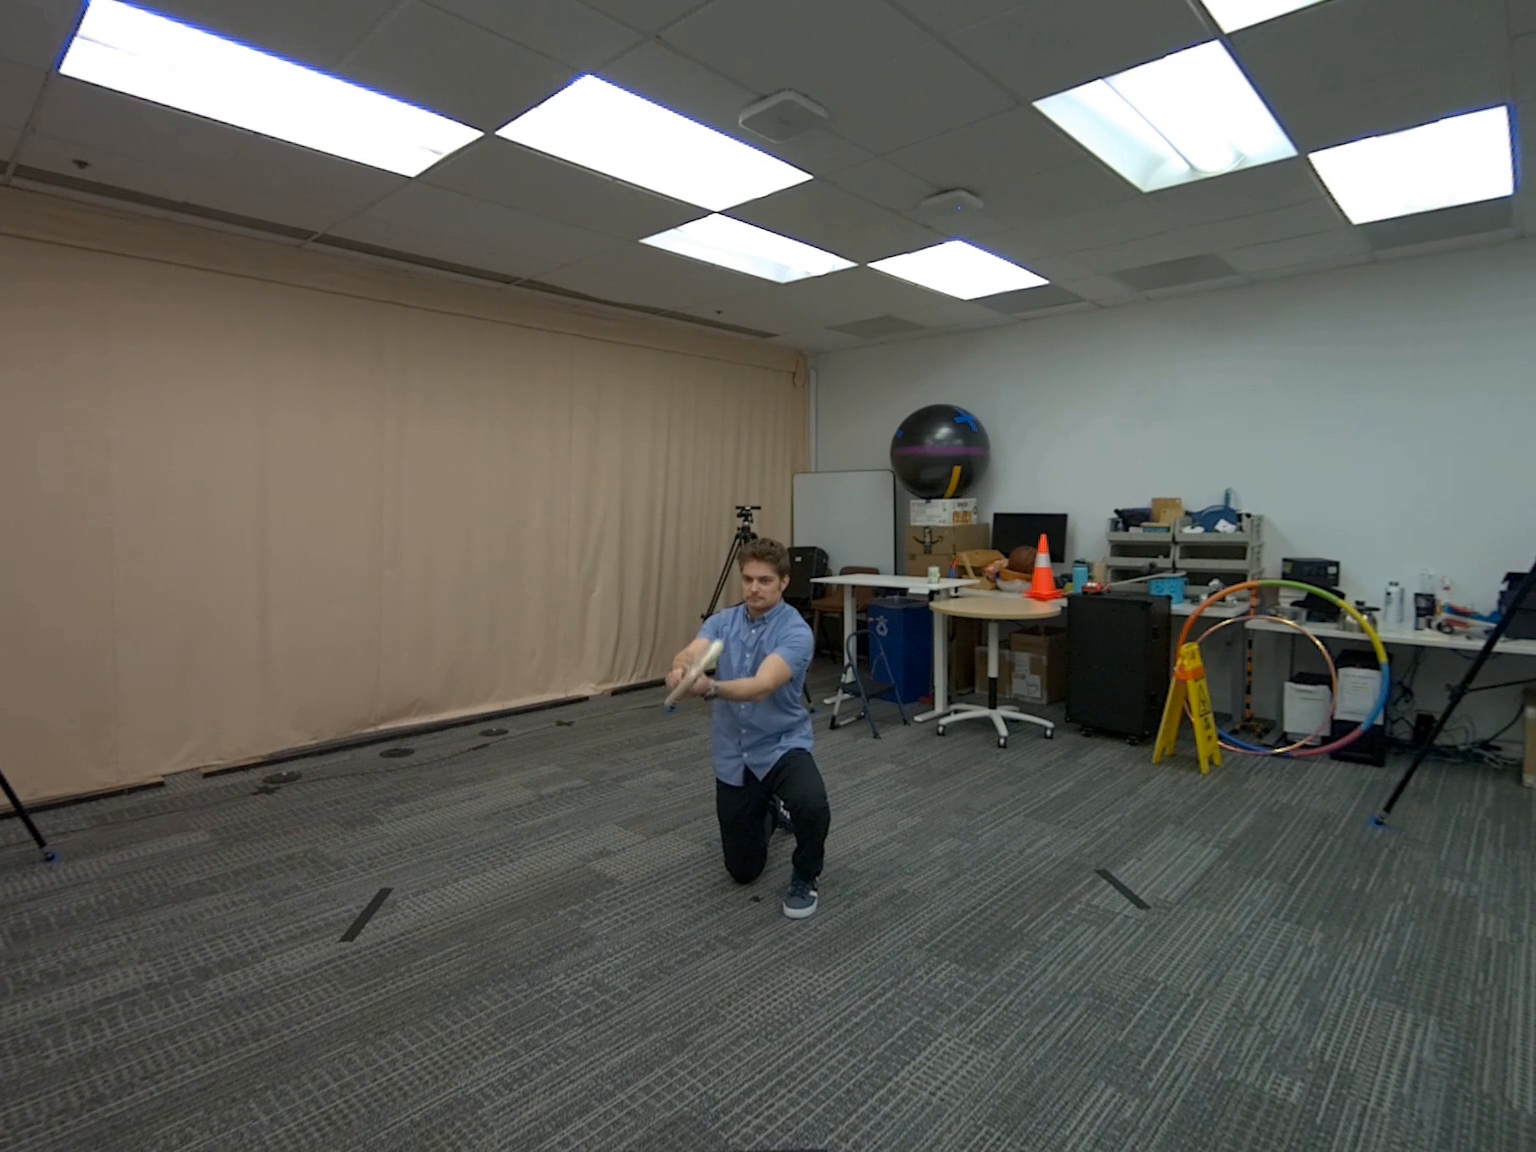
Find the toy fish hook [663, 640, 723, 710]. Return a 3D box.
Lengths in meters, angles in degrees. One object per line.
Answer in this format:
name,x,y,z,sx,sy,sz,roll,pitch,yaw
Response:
toy fish hook,-0.235,0.318,2.487,0.223,0.048,0.507,-47,-3,-25
